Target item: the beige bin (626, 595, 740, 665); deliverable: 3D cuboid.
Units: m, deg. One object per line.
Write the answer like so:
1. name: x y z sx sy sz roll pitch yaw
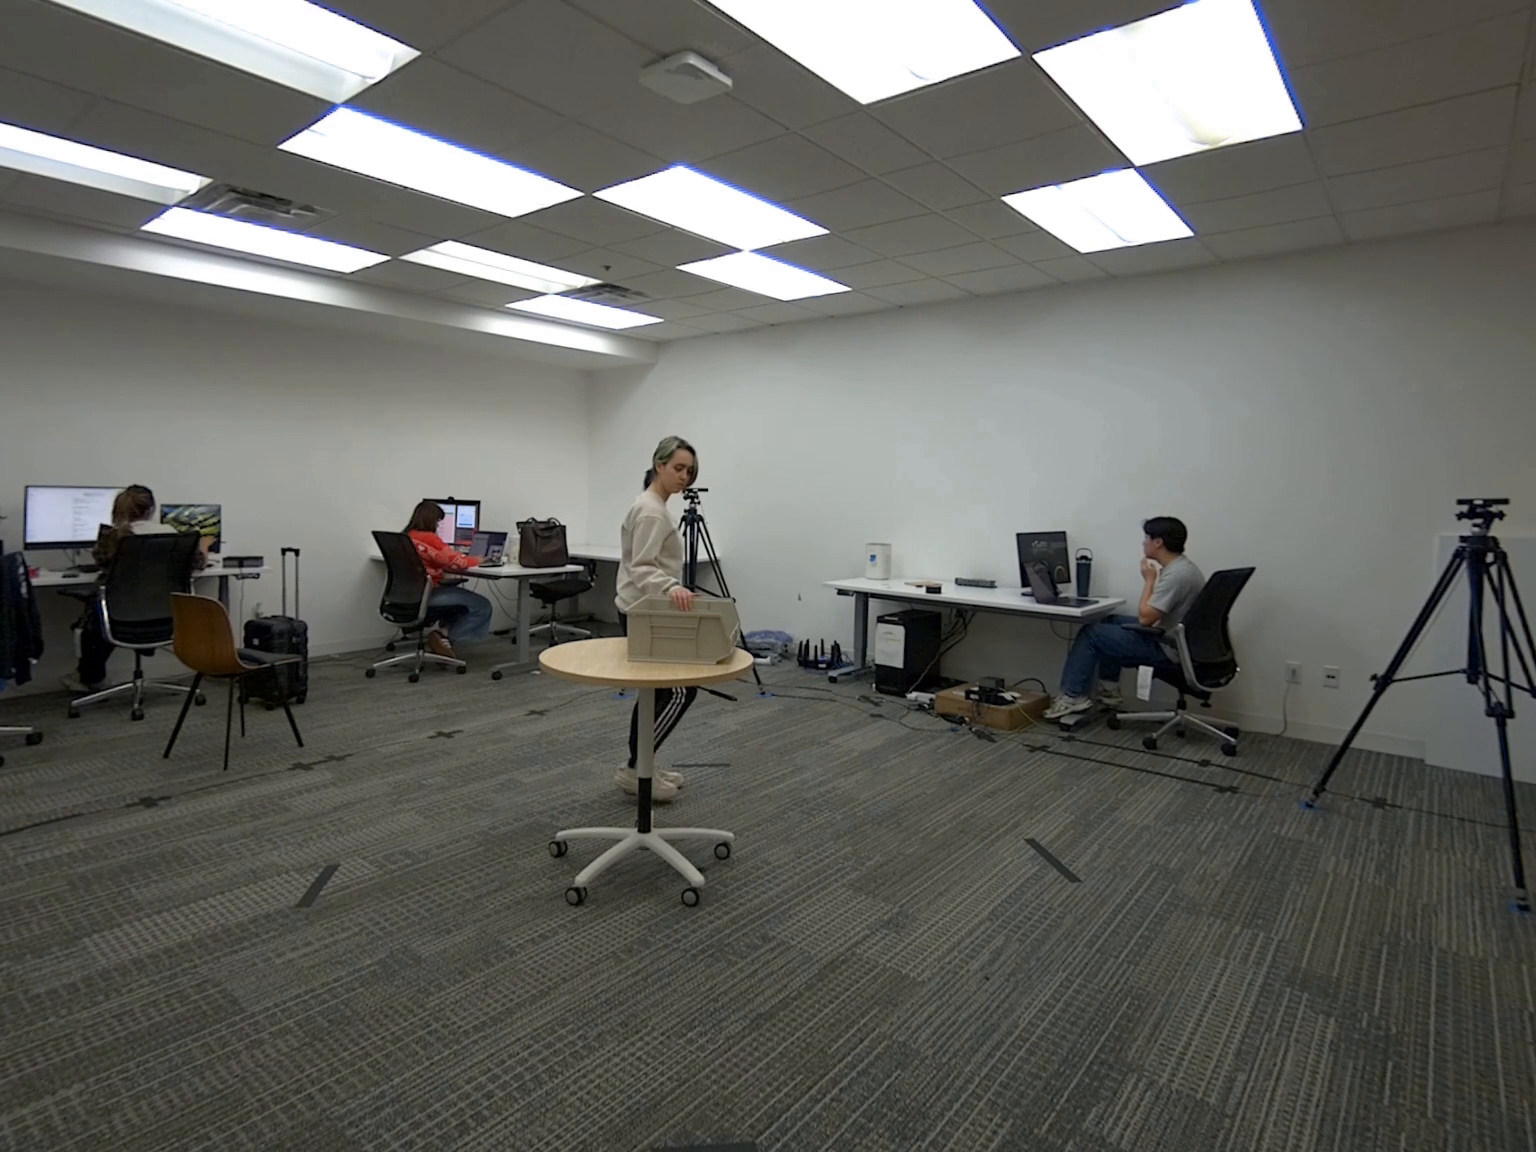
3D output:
1. beige bin: -0.323 0.188 3.141 0.380 0.188 0.422 -1 6 5
